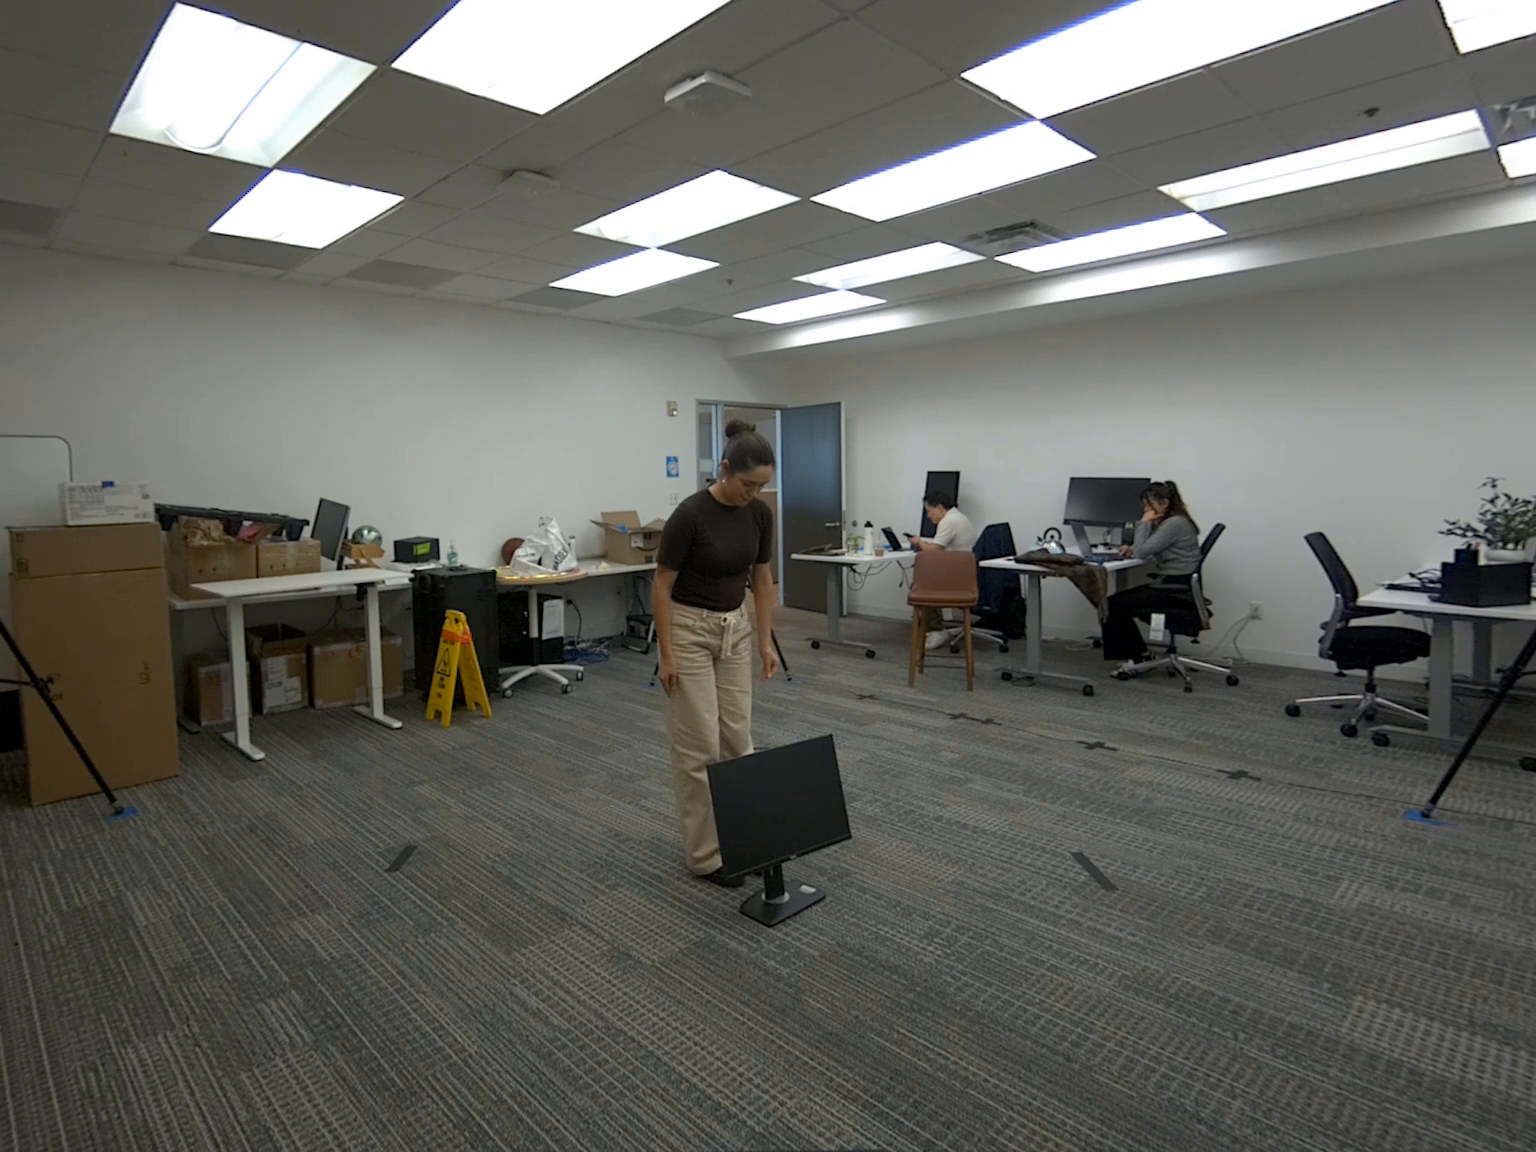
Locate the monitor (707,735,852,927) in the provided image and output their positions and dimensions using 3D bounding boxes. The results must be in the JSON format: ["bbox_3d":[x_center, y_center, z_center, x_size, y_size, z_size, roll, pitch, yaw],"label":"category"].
[{"bbox_3d":[0.028,0.828,2.798,0.525,0.521,0.192,-5,4,-42],"label":"monitor"}]
